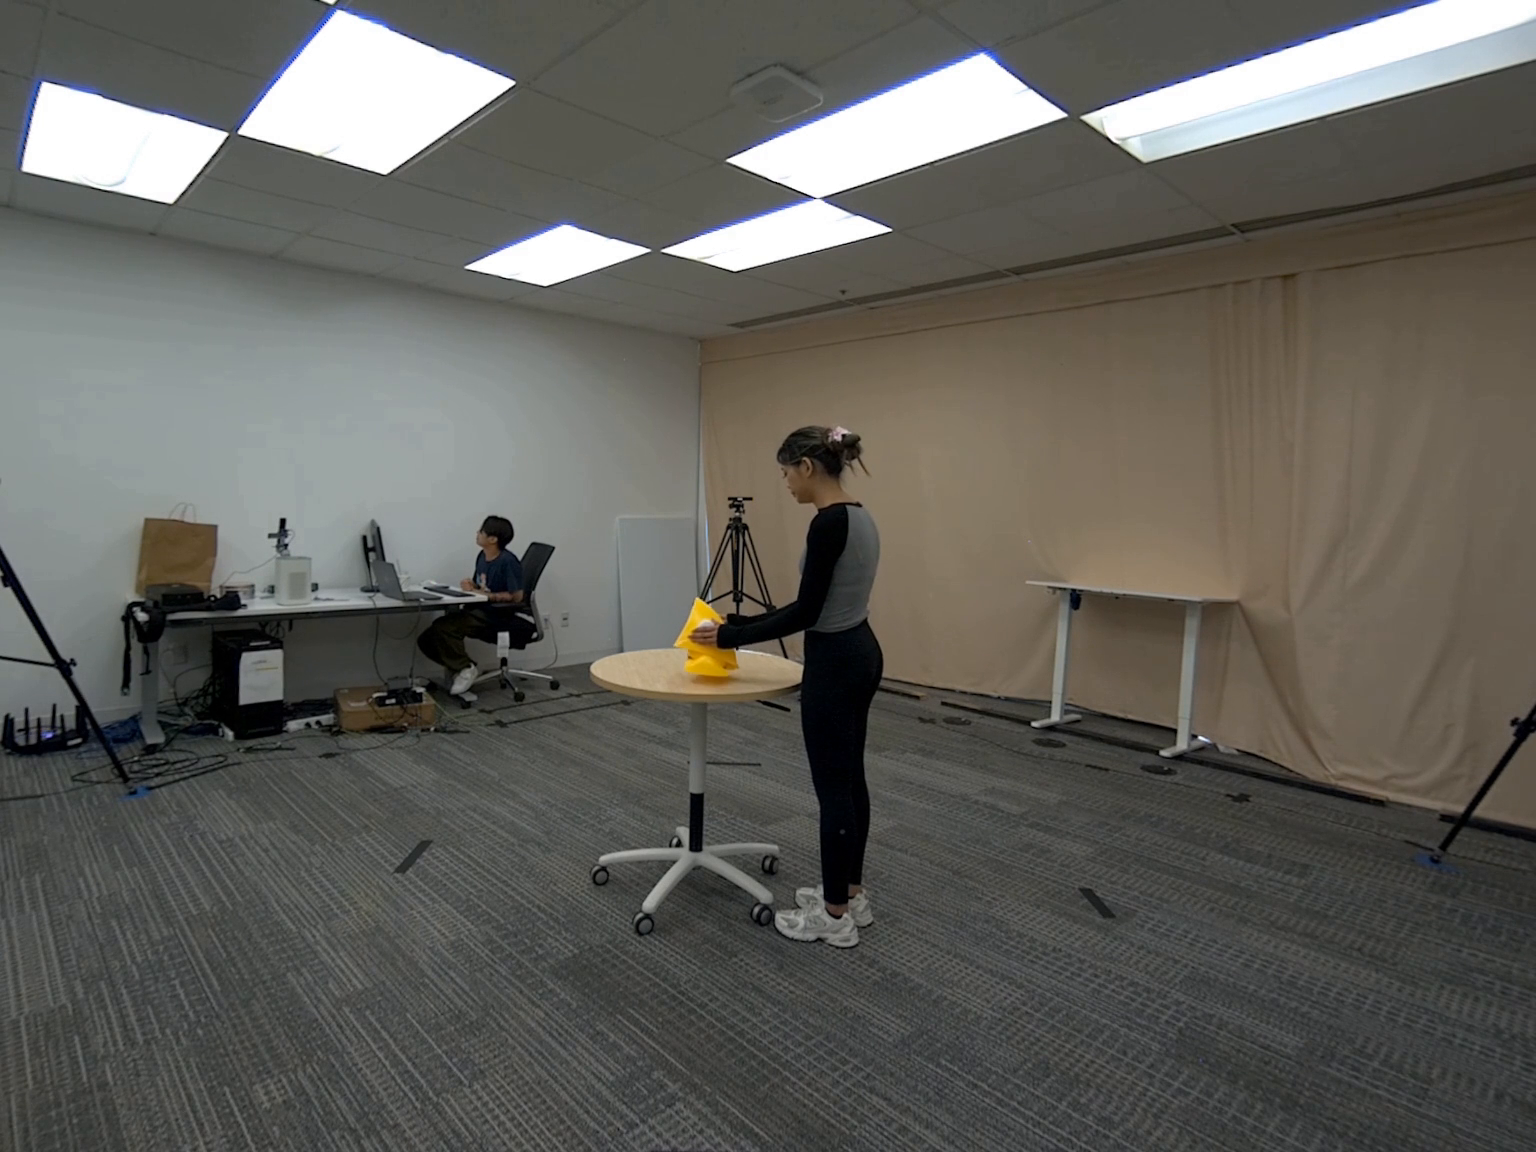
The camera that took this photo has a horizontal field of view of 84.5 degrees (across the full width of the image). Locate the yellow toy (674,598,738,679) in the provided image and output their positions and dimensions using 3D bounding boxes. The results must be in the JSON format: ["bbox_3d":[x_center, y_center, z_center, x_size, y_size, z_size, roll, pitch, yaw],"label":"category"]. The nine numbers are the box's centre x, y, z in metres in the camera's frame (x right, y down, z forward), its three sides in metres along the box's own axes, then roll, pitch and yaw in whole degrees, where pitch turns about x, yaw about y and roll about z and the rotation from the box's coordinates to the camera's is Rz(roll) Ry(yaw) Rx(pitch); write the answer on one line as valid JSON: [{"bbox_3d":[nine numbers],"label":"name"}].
[{"bbox_3d":[-0.187,0.196,2.782,0.196,0.230,0.202,6,6,17],"label":"yellow toy"}]
